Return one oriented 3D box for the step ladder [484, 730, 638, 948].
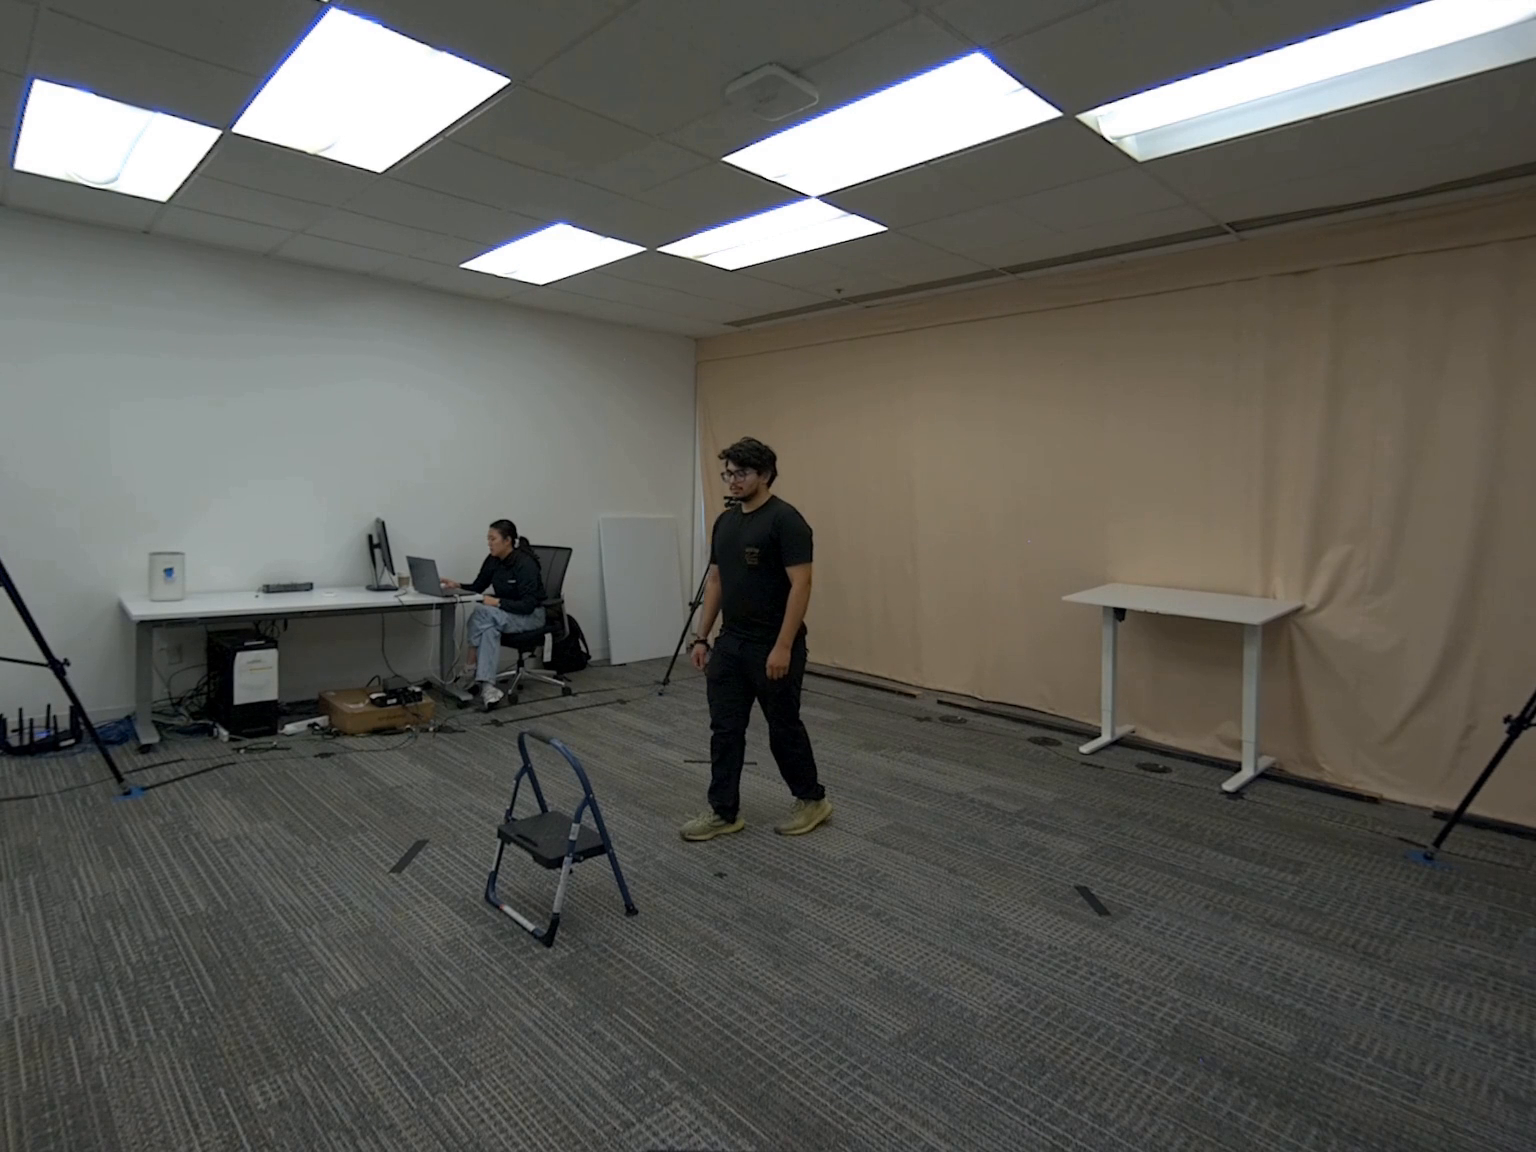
[{"bbox_3d":[-0.701,0.815,2.822,0.441,0.605,0.341,4,5,45],"label":"step ladder"}]
